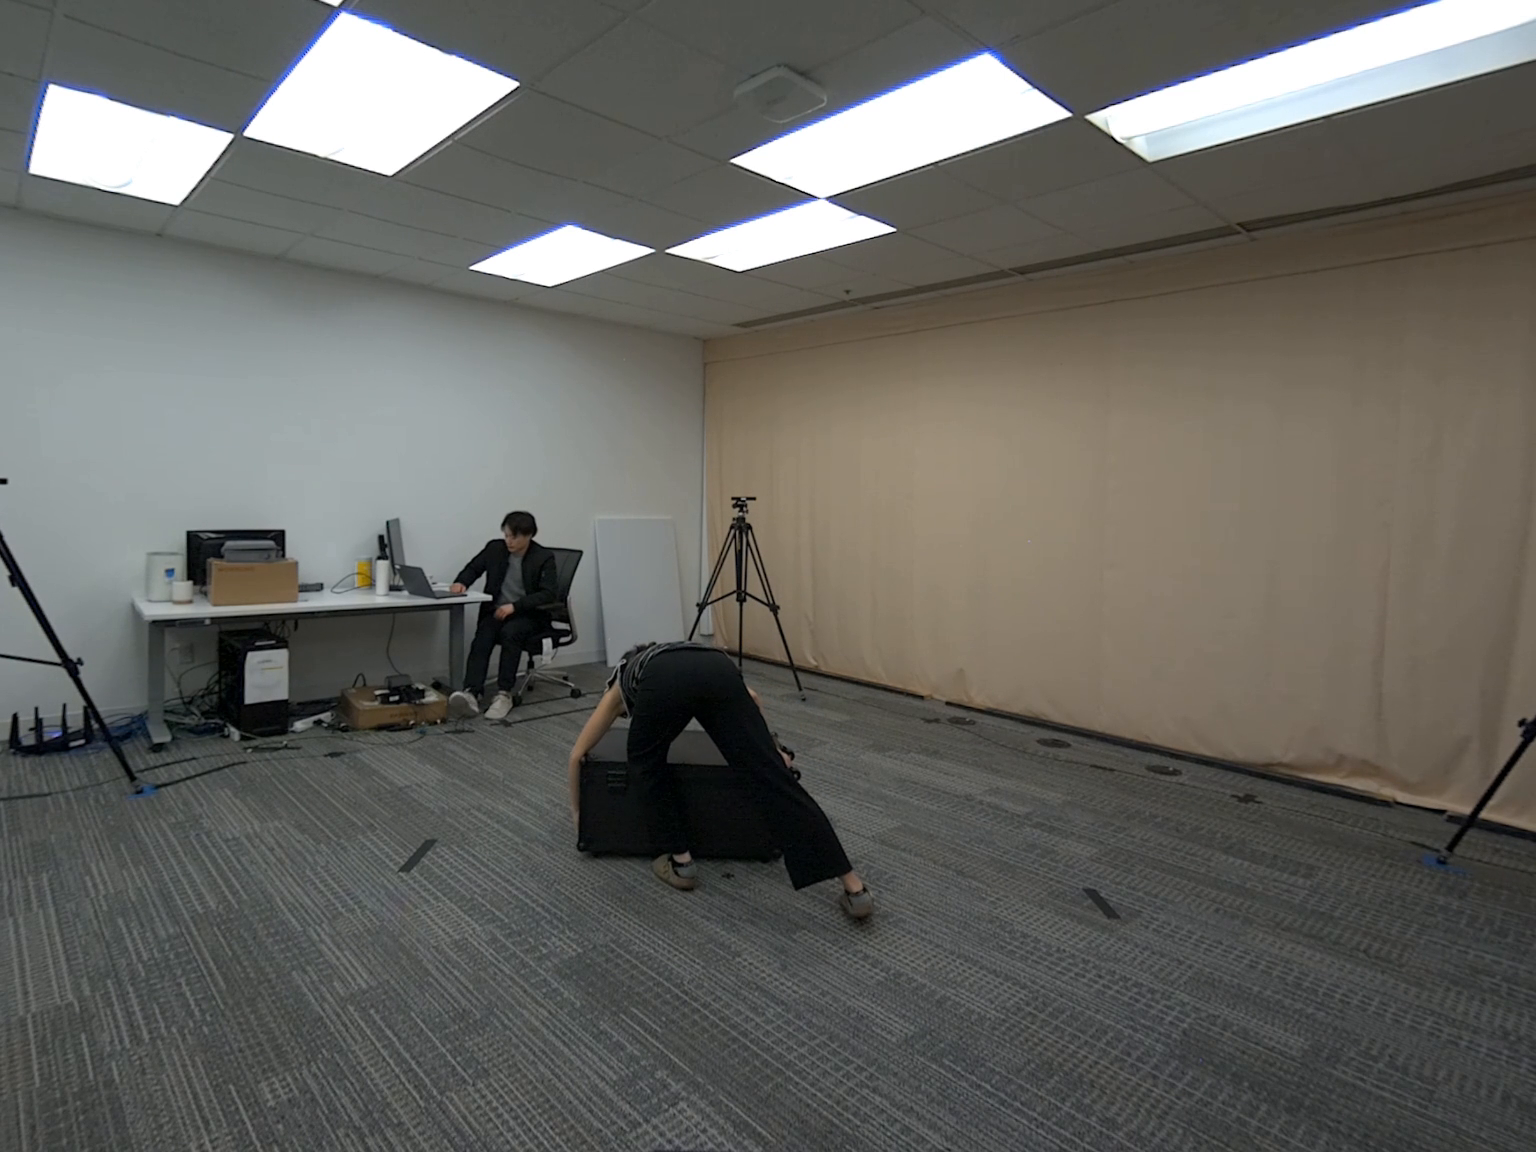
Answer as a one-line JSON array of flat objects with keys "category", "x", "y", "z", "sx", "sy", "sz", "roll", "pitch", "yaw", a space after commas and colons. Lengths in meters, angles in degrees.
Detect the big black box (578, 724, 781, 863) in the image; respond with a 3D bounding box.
[{"category": "big black box", "x": -0.313, "y": 0.881, "z": 3.442, "sx": 0.860, "sy": 0.396, "sz": 0.523, "roll": 2, "pitch": 3, "yaw": -2}]
